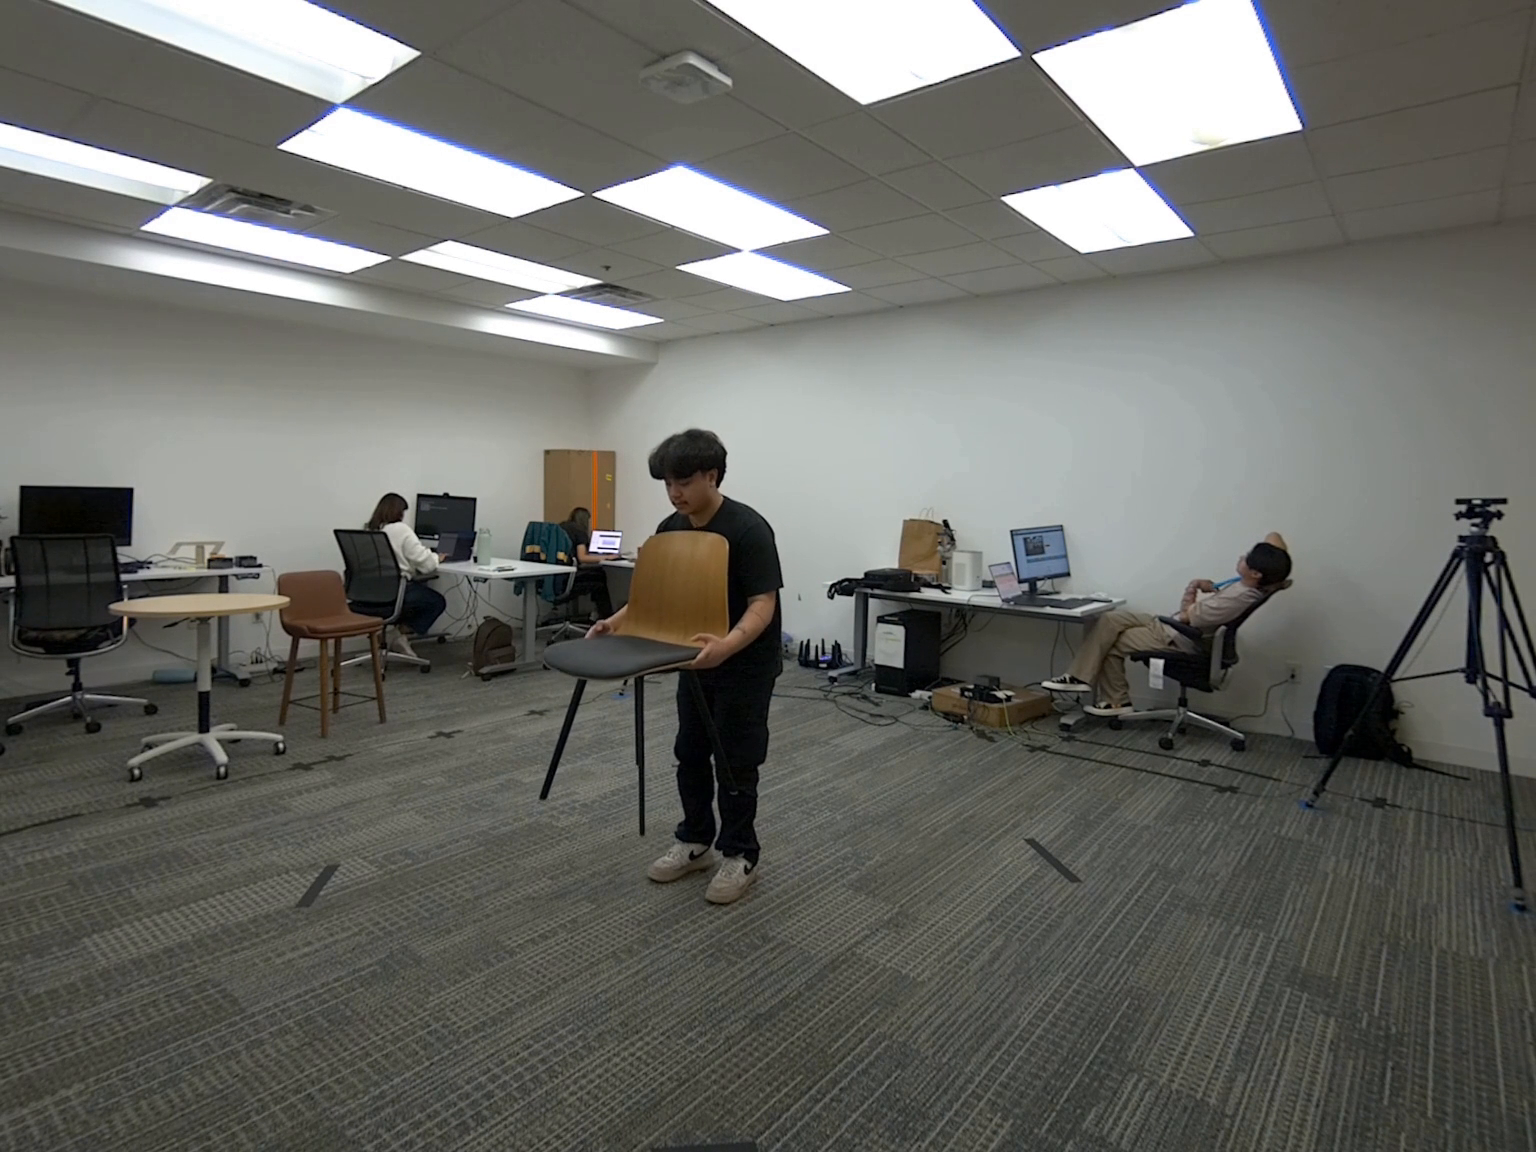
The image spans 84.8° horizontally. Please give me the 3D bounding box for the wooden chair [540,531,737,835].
[{"bbox_3d":[-0.426,0.292,2.711,0.494,0.877,0.507,4,1,36],"label":"wooden chair"}]
